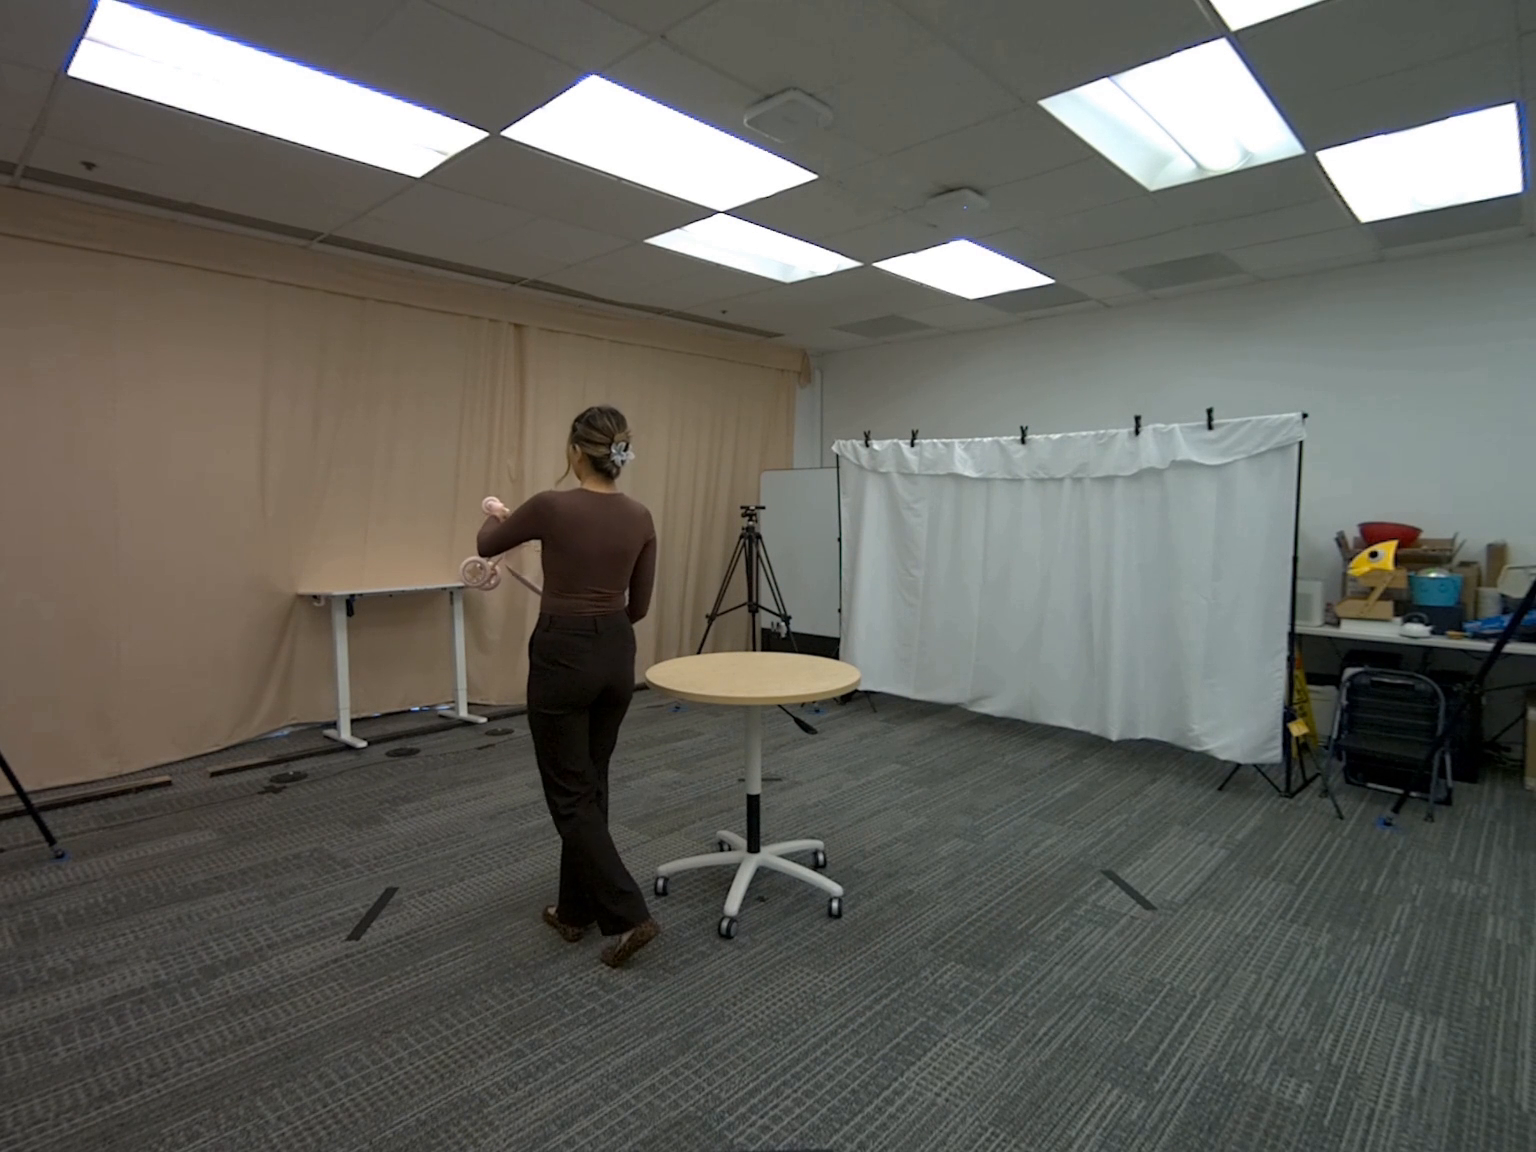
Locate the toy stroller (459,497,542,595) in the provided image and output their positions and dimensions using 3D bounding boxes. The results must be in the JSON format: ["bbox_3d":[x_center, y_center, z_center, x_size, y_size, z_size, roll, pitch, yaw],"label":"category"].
[{"bbox_3d":[-0.861,-0.036,3.094,0.533,0.342,0.282,26,-13,-4],"label":"toy stroller"}]
